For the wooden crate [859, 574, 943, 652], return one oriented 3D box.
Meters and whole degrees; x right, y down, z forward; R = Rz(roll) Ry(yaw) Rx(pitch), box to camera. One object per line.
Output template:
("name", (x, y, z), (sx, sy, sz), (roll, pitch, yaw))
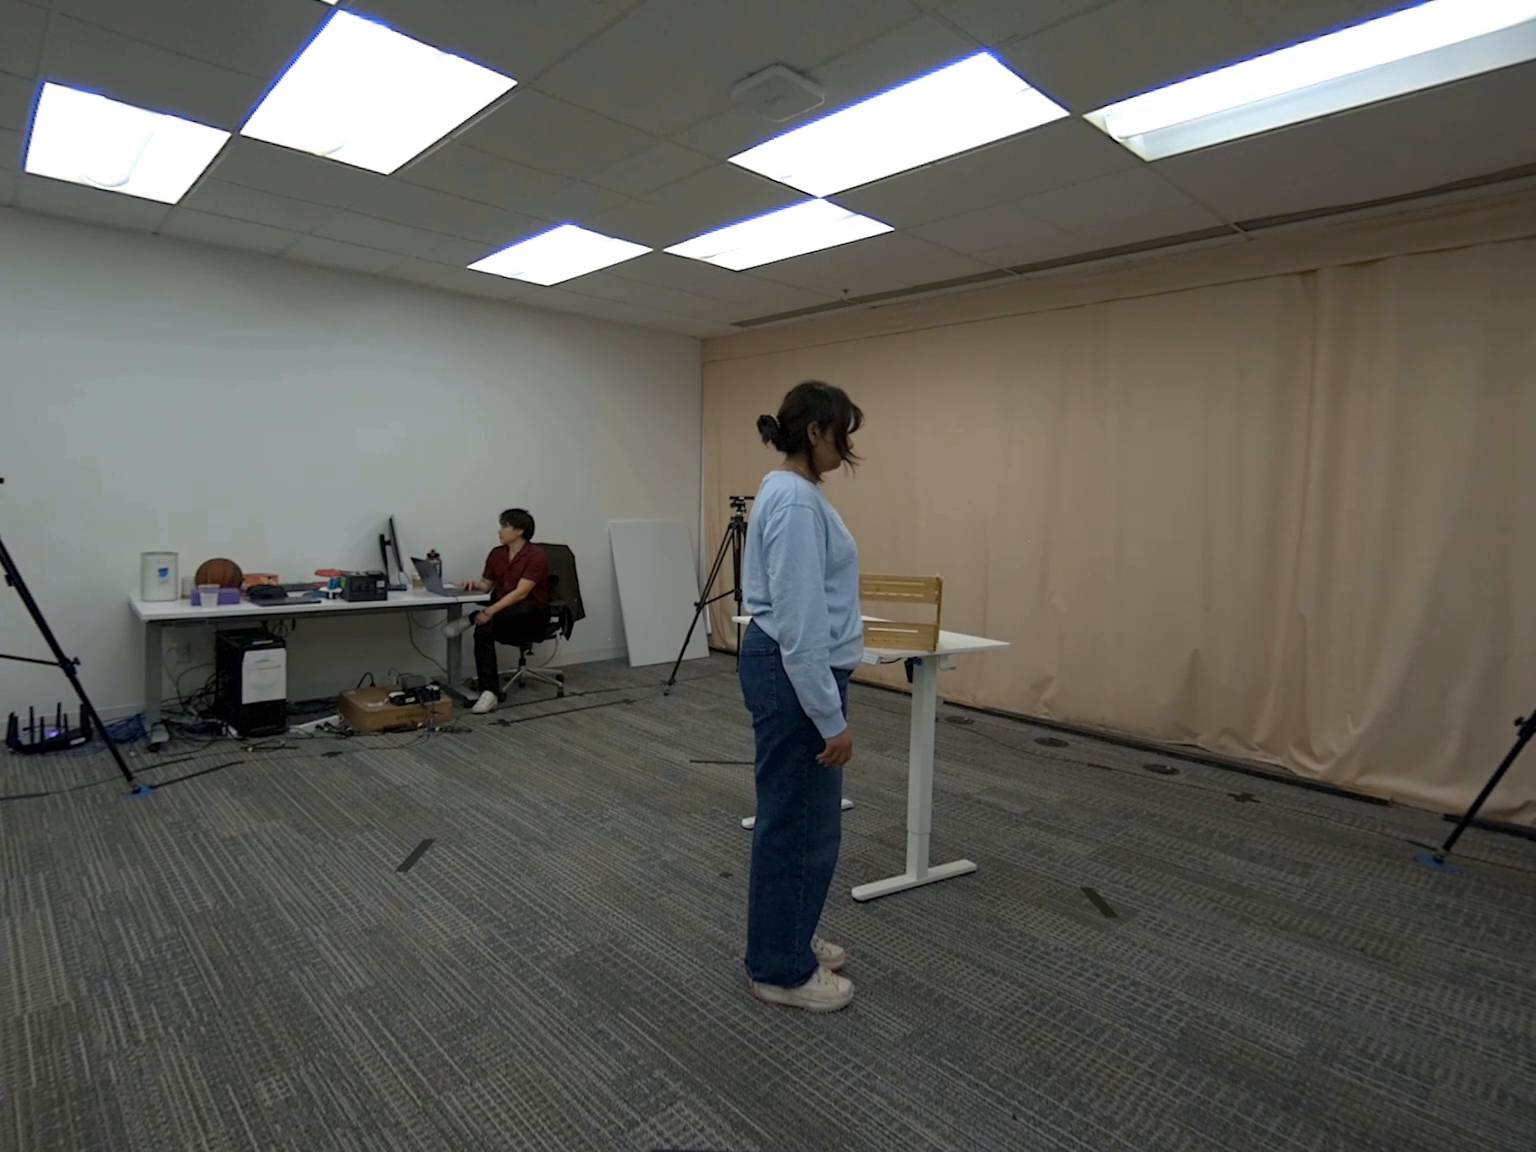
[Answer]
("wooden crate", (0.441, 0.112, 2.983), (0.327, 0.272, 0.300), (3, 4, 11))
